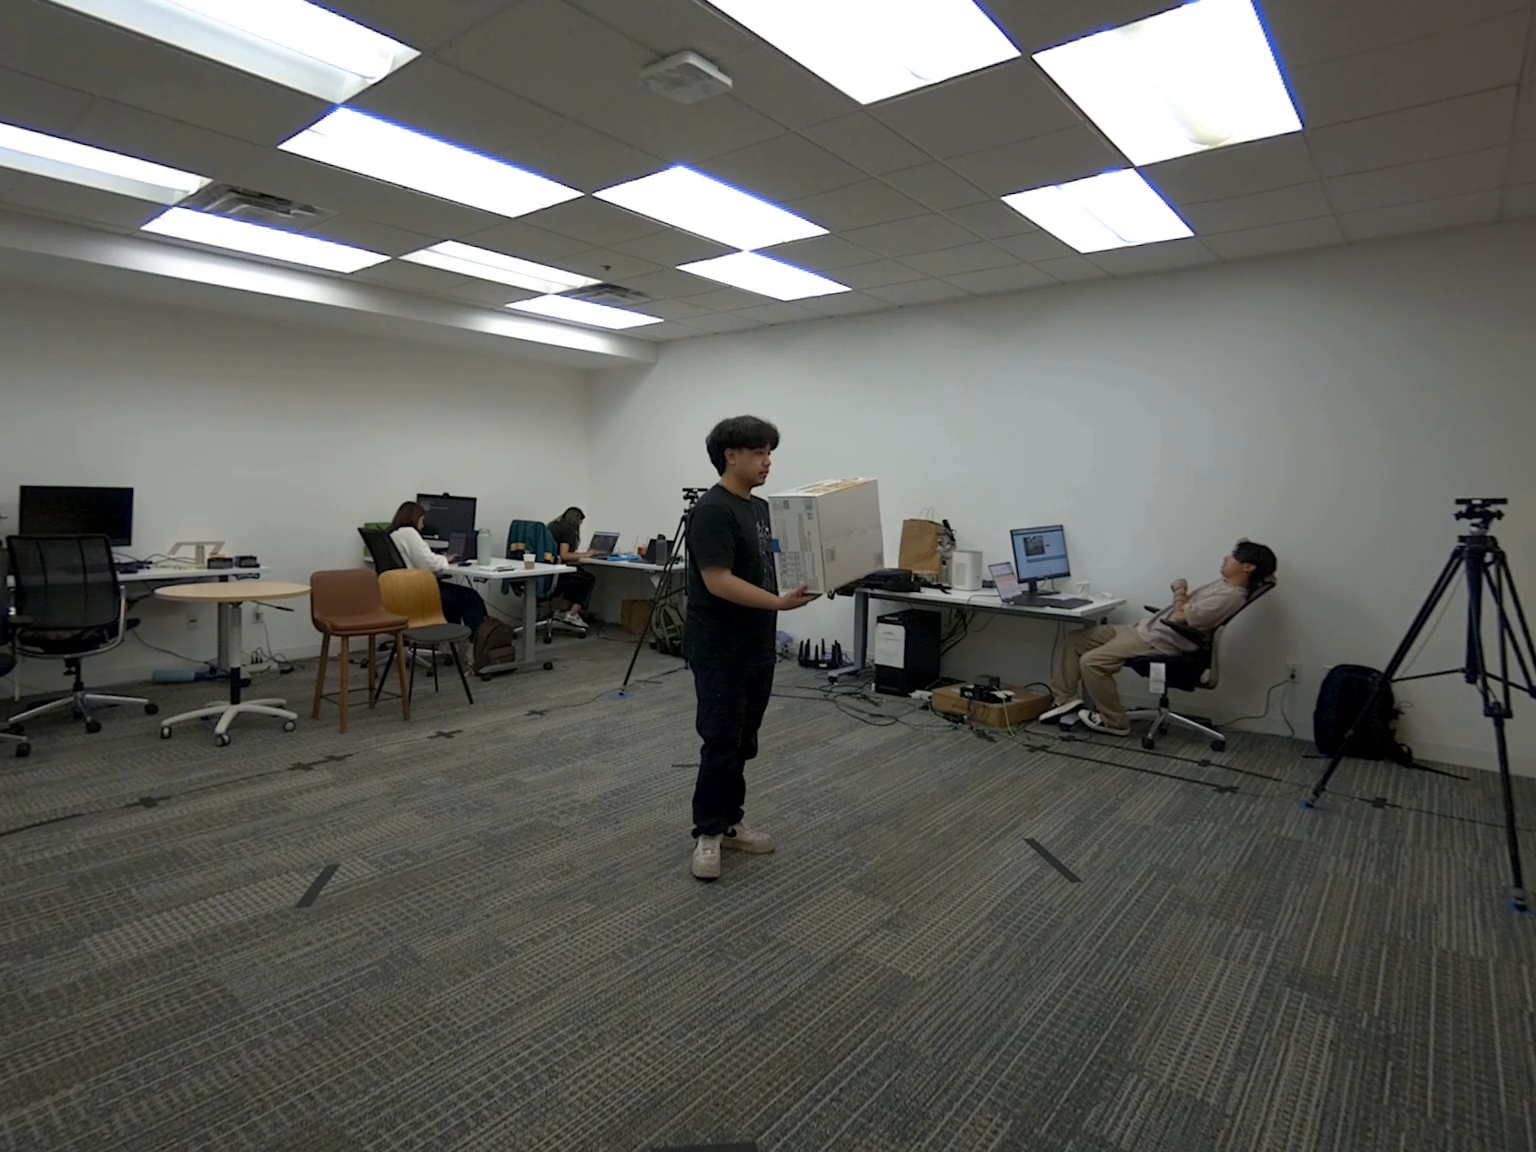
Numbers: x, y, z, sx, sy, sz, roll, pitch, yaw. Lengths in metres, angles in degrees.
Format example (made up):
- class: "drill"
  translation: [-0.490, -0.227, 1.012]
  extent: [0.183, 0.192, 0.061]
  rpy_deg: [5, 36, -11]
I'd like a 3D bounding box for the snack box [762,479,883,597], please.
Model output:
- class: "snack box"
  translation: [0.202, -0.151, 3.033]
  extent: [0.212, 0.337, 0.396]
  rpy_deg: [2, 13, 39]
